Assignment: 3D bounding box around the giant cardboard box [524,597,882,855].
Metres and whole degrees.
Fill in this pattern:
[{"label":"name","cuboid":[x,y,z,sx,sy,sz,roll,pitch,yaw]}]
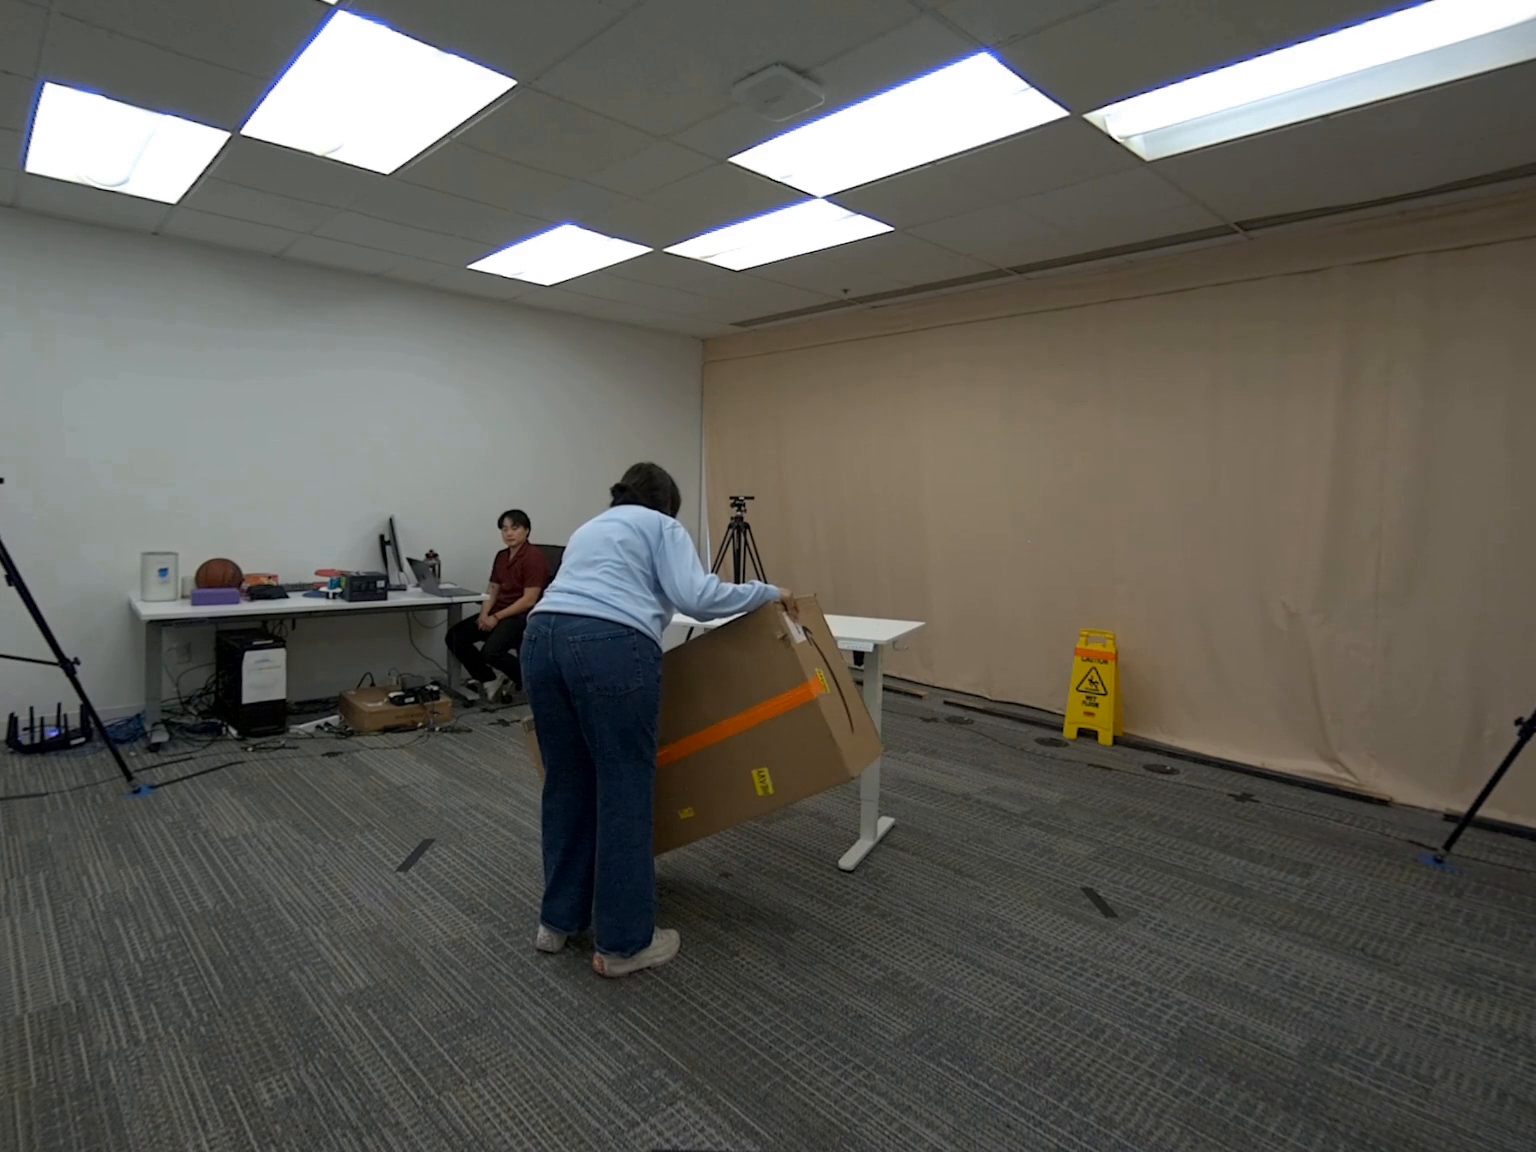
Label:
[{"label":"giant cardboard box","cuboid":[-0.232,0.539,2.841,1.033,0.583,0.419,-27,-10,19]}]
